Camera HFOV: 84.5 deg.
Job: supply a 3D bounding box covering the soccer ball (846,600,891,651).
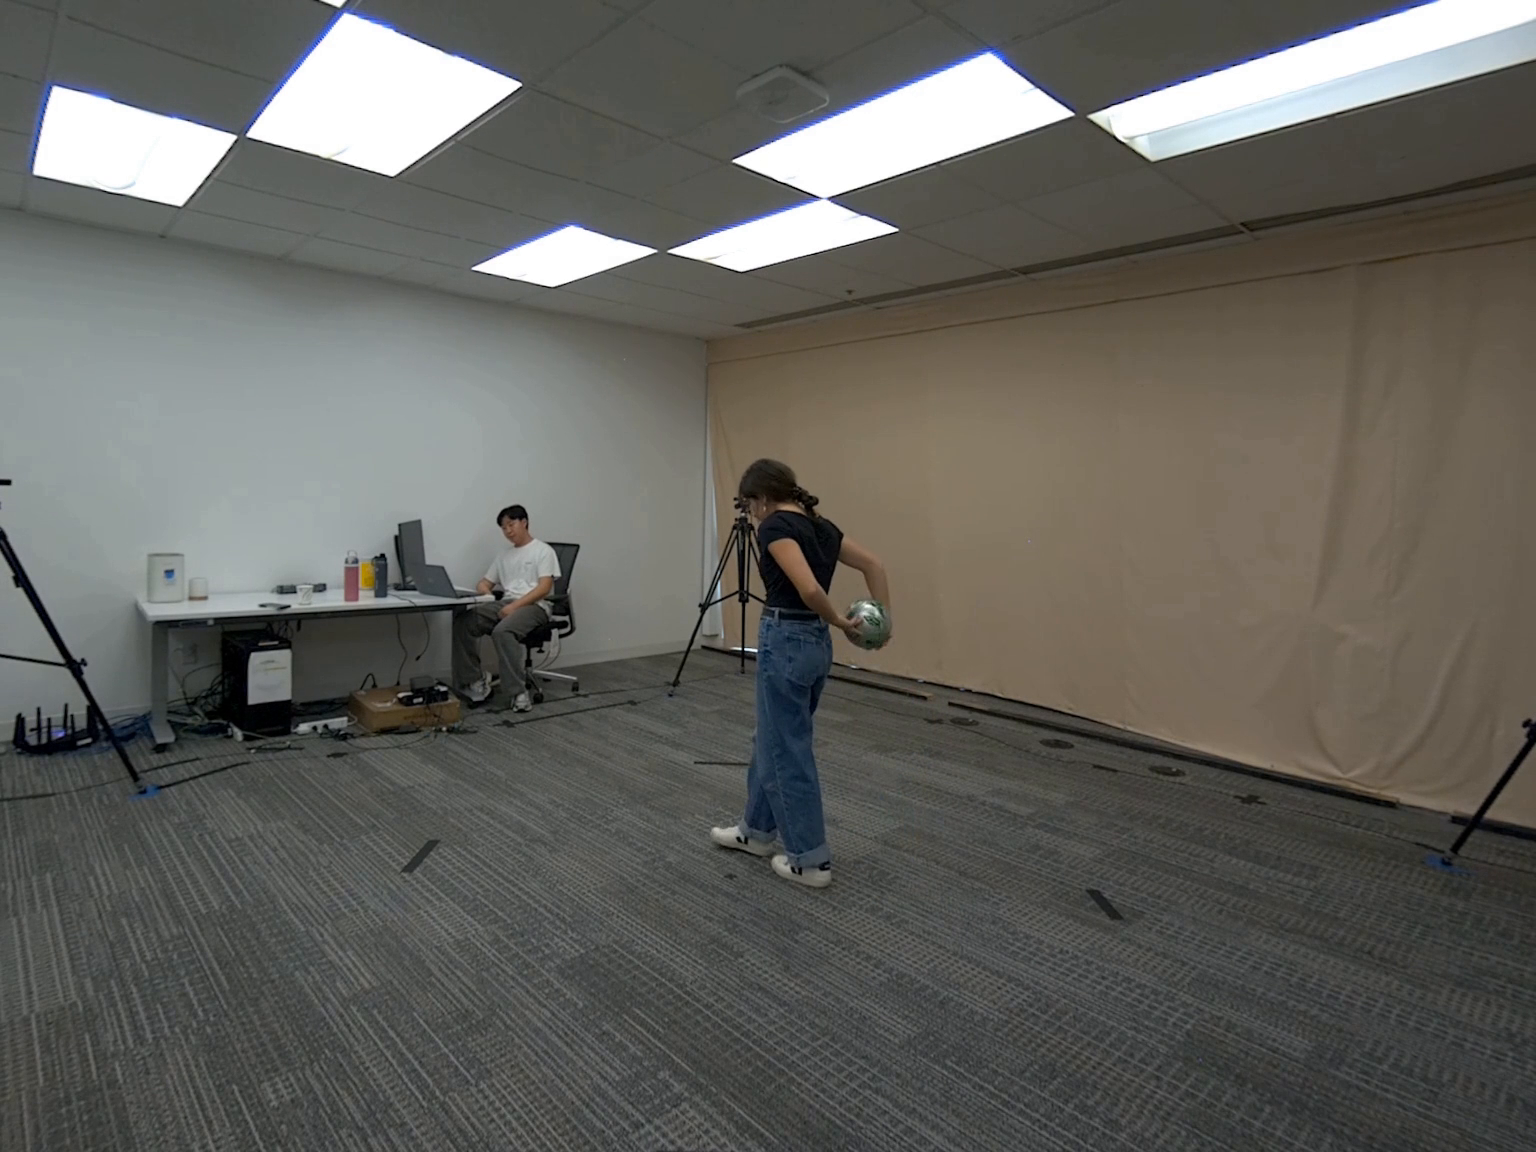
[{"bbox_3d":[0.344,0.179,3.160,0.187,0.187,0.188,1,4,-1],"label":"soccer ball"}]
